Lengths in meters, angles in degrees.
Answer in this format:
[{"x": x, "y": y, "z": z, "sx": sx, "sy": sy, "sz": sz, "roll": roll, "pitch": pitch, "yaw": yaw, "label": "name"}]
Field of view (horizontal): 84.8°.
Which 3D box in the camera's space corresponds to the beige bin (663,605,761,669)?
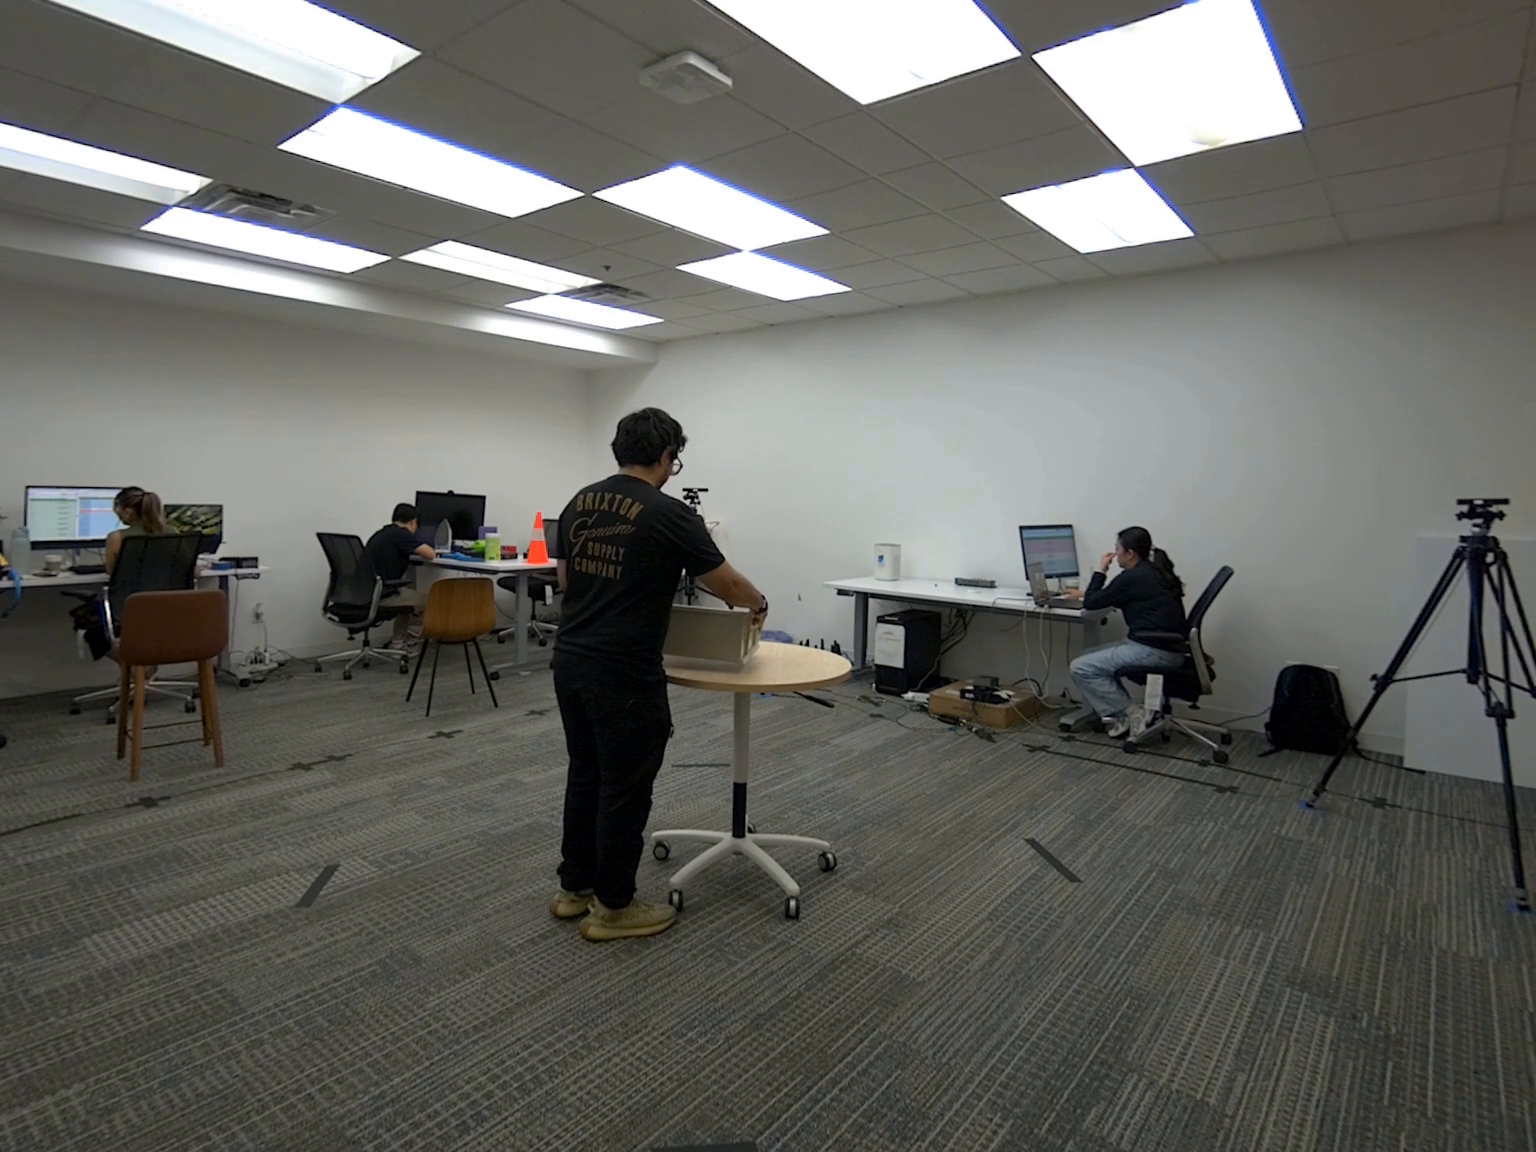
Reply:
[{"x": -0.252, "y": 0.164, "z": 3.004, "sx": 0.428, "sy": 0.187, "sz": 0.375, "roll": 5, "pitch": 9, "yaw": 11, "label": "beige bin"}]
